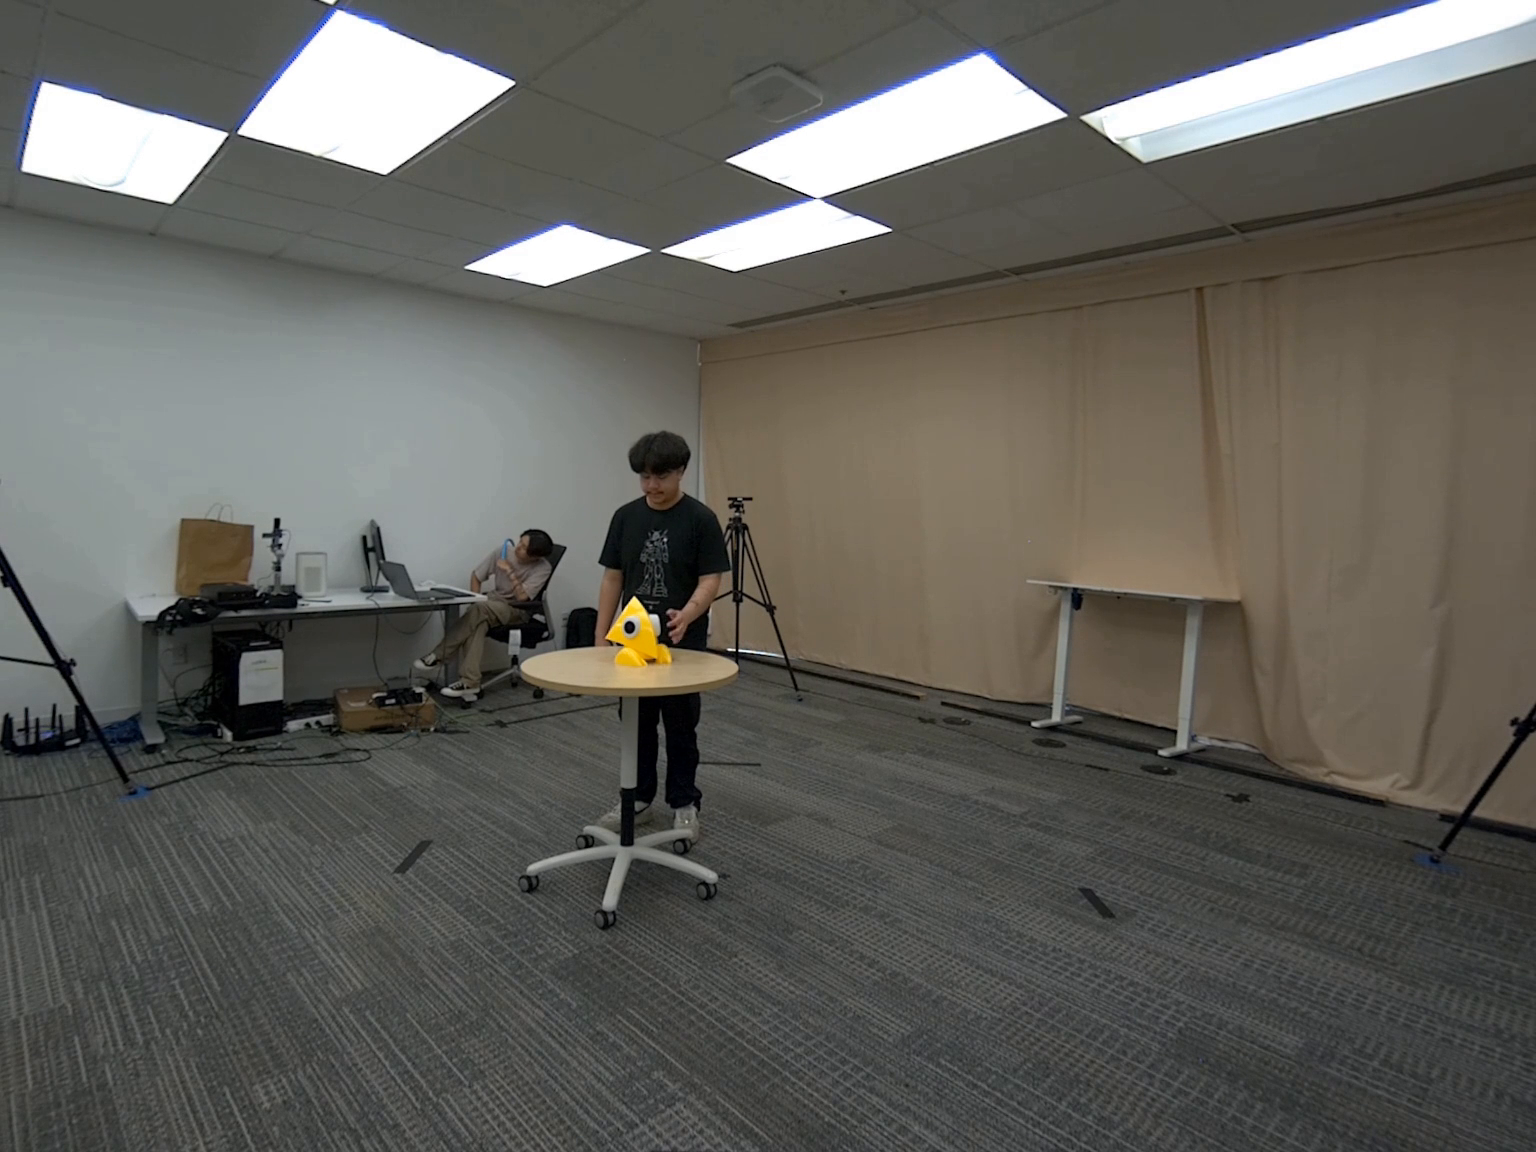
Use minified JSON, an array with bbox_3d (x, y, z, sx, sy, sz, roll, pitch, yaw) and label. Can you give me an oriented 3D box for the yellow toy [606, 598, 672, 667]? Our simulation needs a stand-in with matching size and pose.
[{"bbox_3d":[-0.476,0.199,3.066,0.200,0.230,0.198,-1,5,-42],"label":"yellow toy"}]
